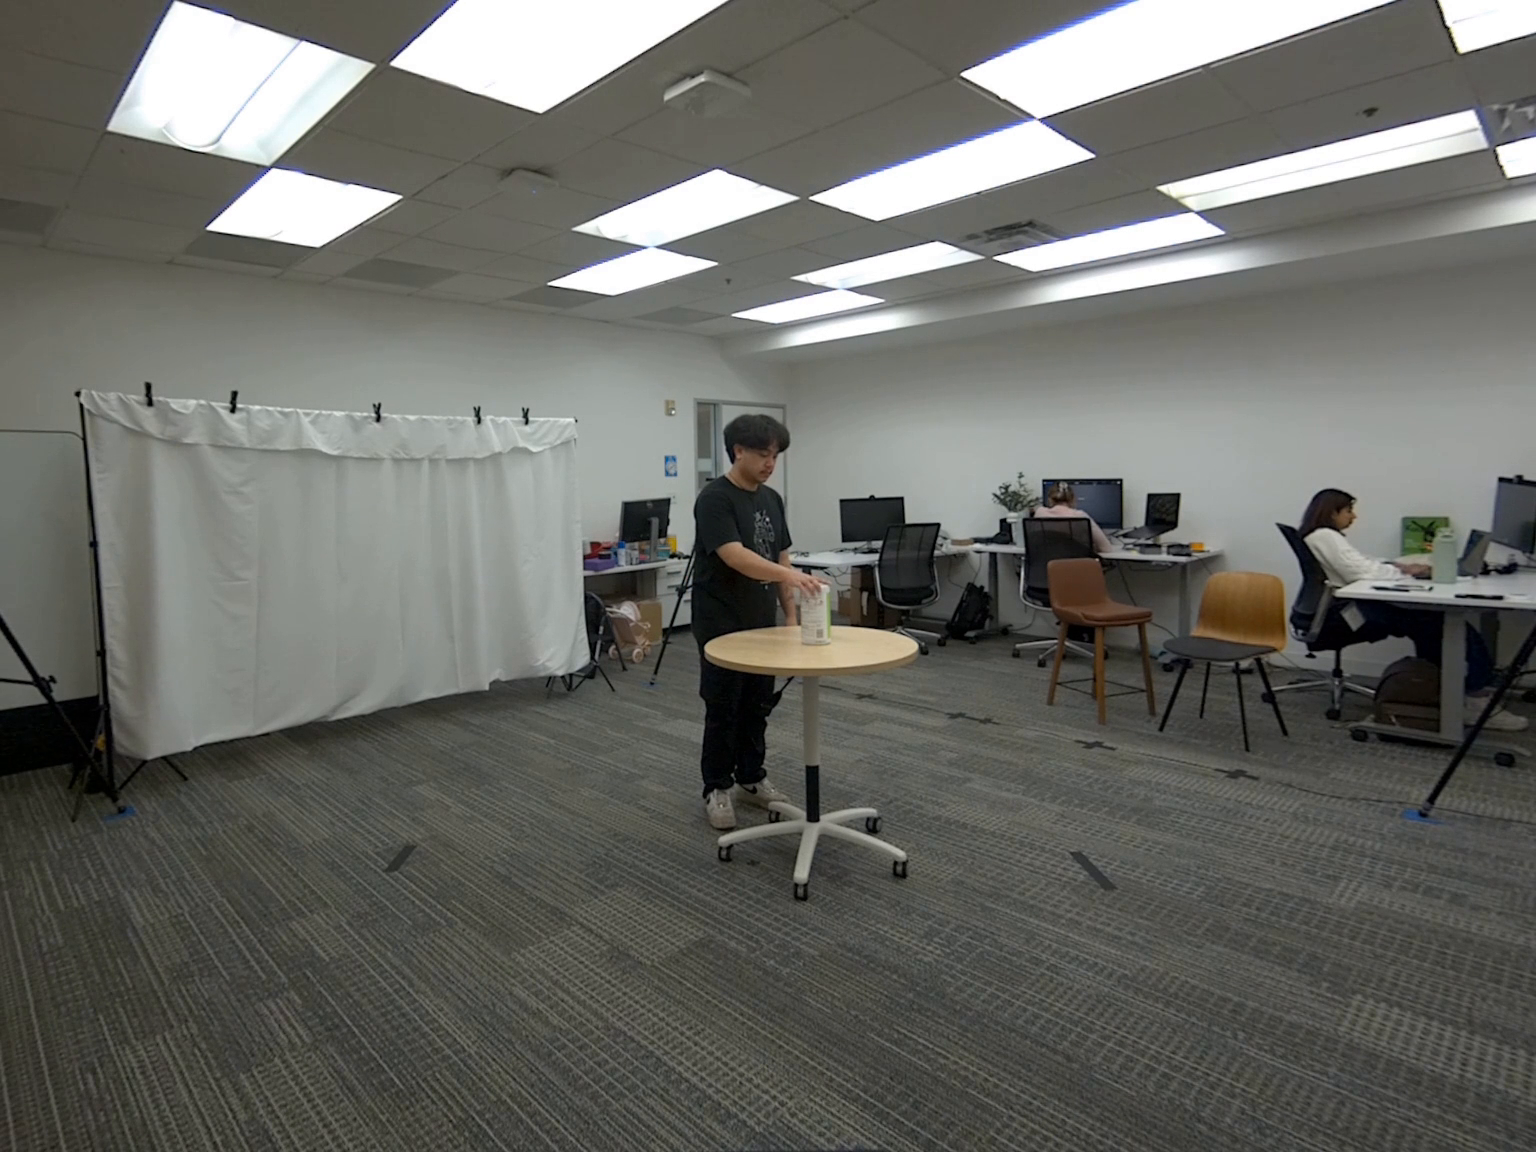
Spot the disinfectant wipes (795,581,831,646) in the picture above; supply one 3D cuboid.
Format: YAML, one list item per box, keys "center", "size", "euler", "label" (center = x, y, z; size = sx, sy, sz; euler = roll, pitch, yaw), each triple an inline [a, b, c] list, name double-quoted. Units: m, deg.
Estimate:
- center: [0.171, 0.140, 3.118]
  size: [0.118, 0.217, 0.118]
  euler: [0, 3, -2]
  label: "disinfectant wipes"
